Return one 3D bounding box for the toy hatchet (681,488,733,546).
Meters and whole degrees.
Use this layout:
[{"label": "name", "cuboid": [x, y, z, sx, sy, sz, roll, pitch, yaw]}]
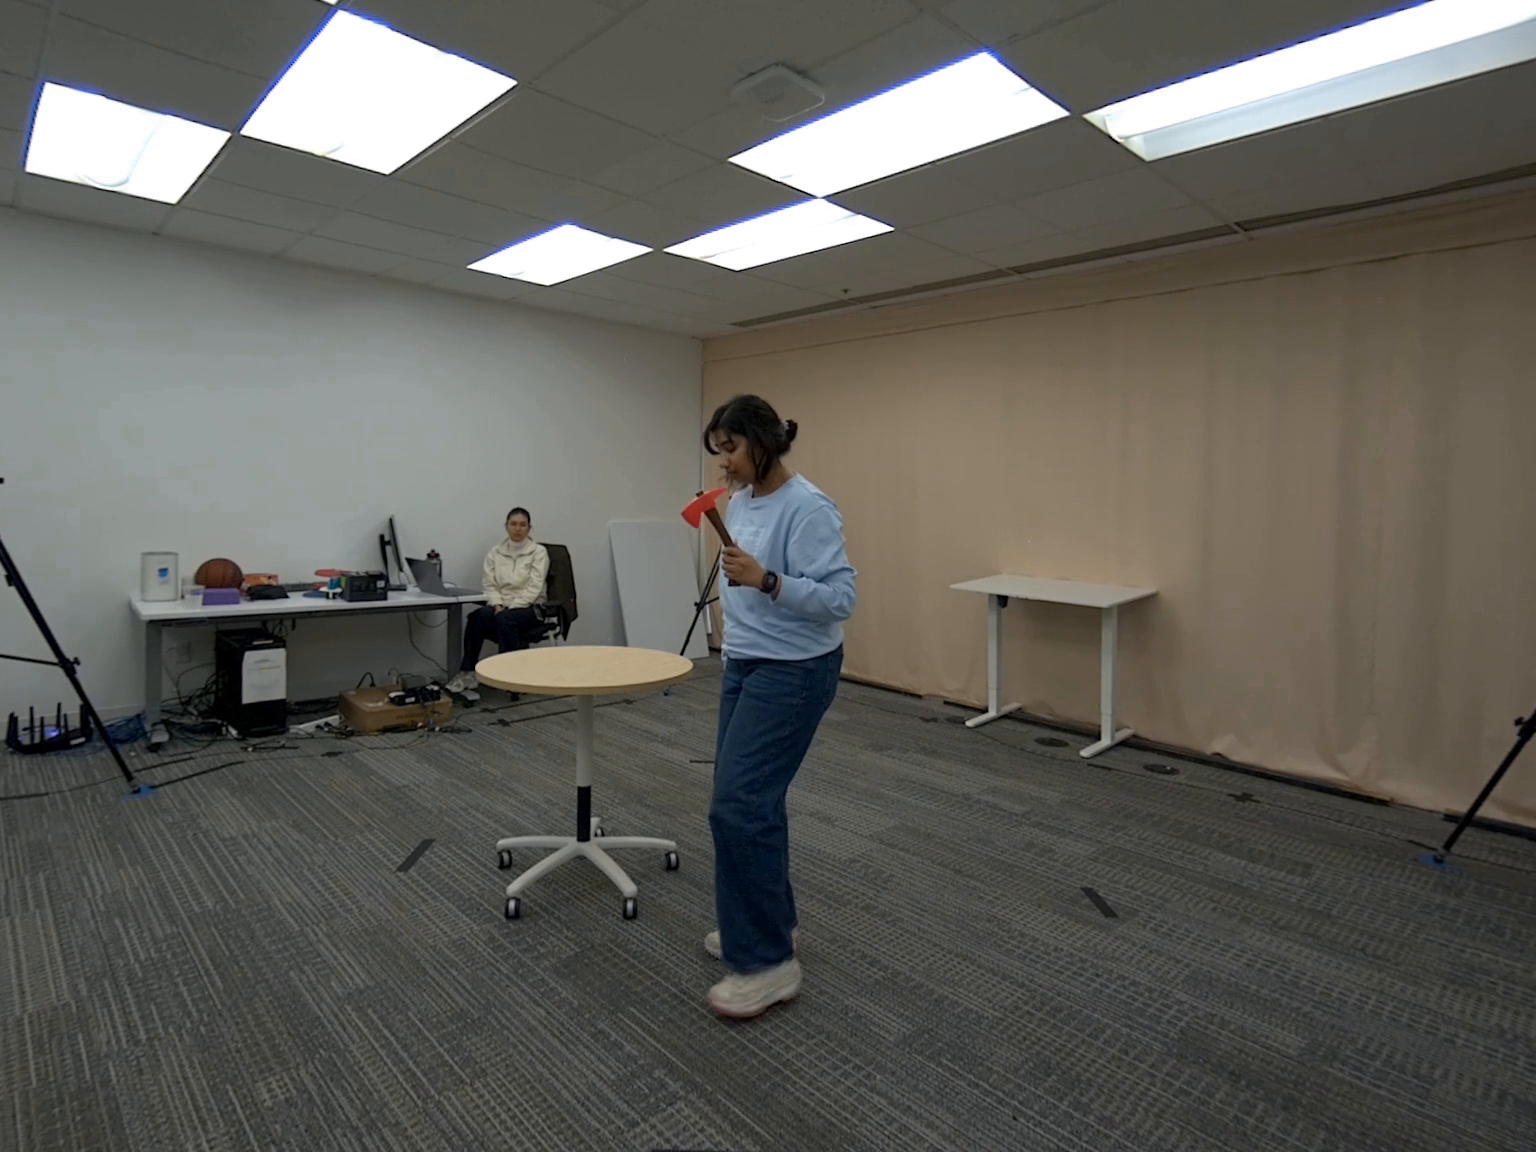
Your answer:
[{"label": "toy hatchet", "cuboid": [-0.165, -0.088, 2.181, 0.130, 0.267, 0.030, -13, 14, -12]}]
